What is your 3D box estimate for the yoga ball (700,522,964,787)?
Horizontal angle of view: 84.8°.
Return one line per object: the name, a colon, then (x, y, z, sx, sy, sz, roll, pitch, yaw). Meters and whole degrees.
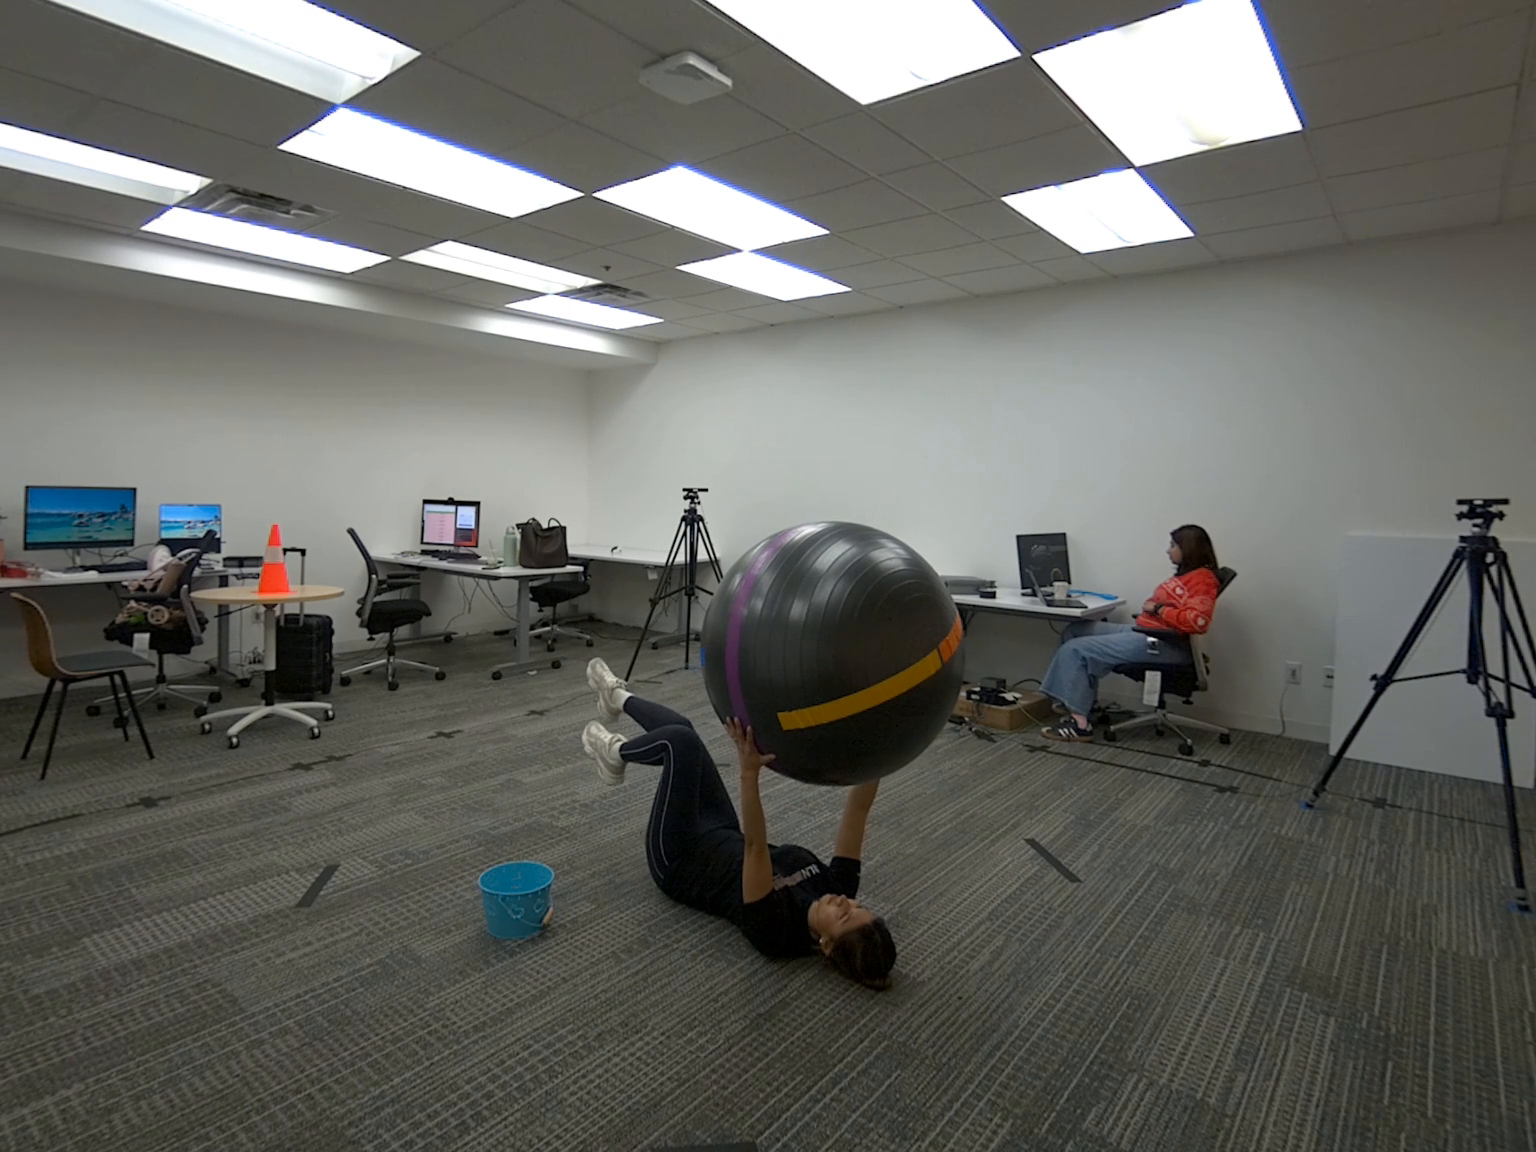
yoga ball: (0.177, 0.220, 2.474, 0.757, 0.756, 0.761, -3, 3, -2)
